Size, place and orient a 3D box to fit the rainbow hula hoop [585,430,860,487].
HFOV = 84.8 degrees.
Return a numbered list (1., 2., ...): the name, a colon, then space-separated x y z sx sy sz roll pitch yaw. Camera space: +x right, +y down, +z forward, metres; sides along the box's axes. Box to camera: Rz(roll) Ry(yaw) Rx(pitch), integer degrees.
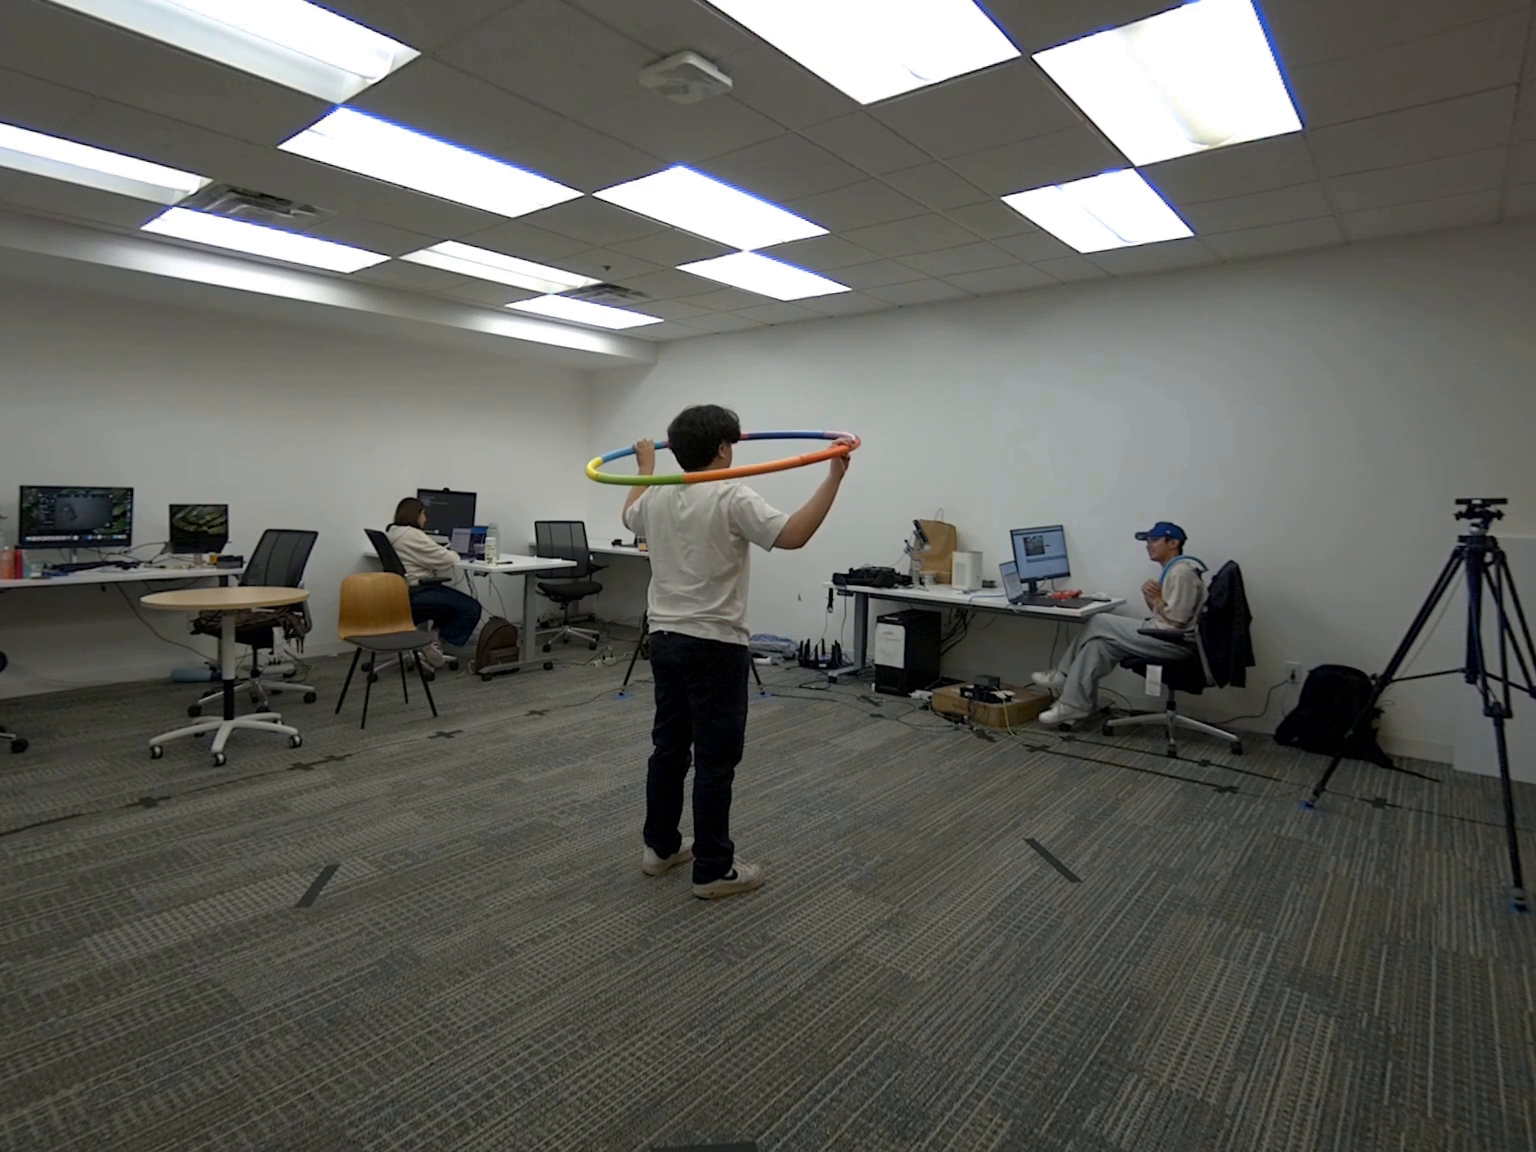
1. rainbow hula hoop: -0.186 -0.447 3.071 0.986 0.051 1.000 -7 16 0
